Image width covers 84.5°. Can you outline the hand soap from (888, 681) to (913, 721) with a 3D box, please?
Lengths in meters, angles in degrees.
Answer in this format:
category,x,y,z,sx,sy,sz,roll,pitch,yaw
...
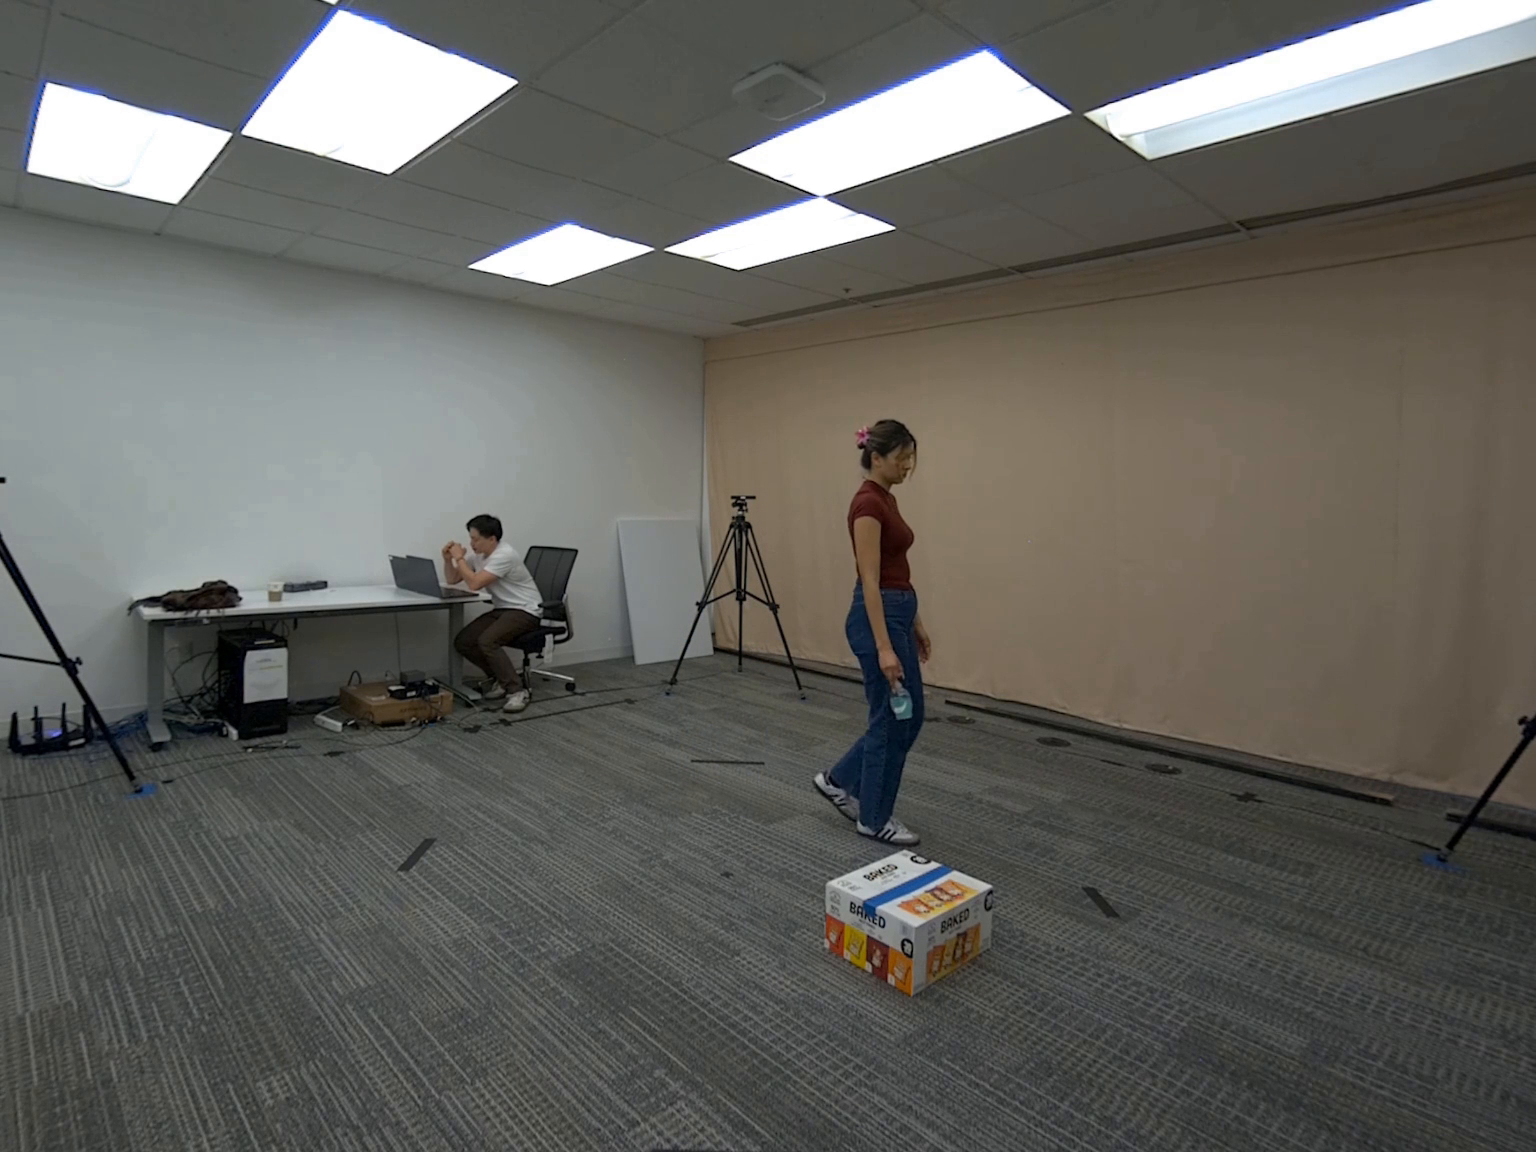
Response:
category,x,y,z,sx,sy,sz,roll,pitch,yaw
hand soap,0.469,0.446,3.145,0.086,0.169,0.042,-11,-6,39
